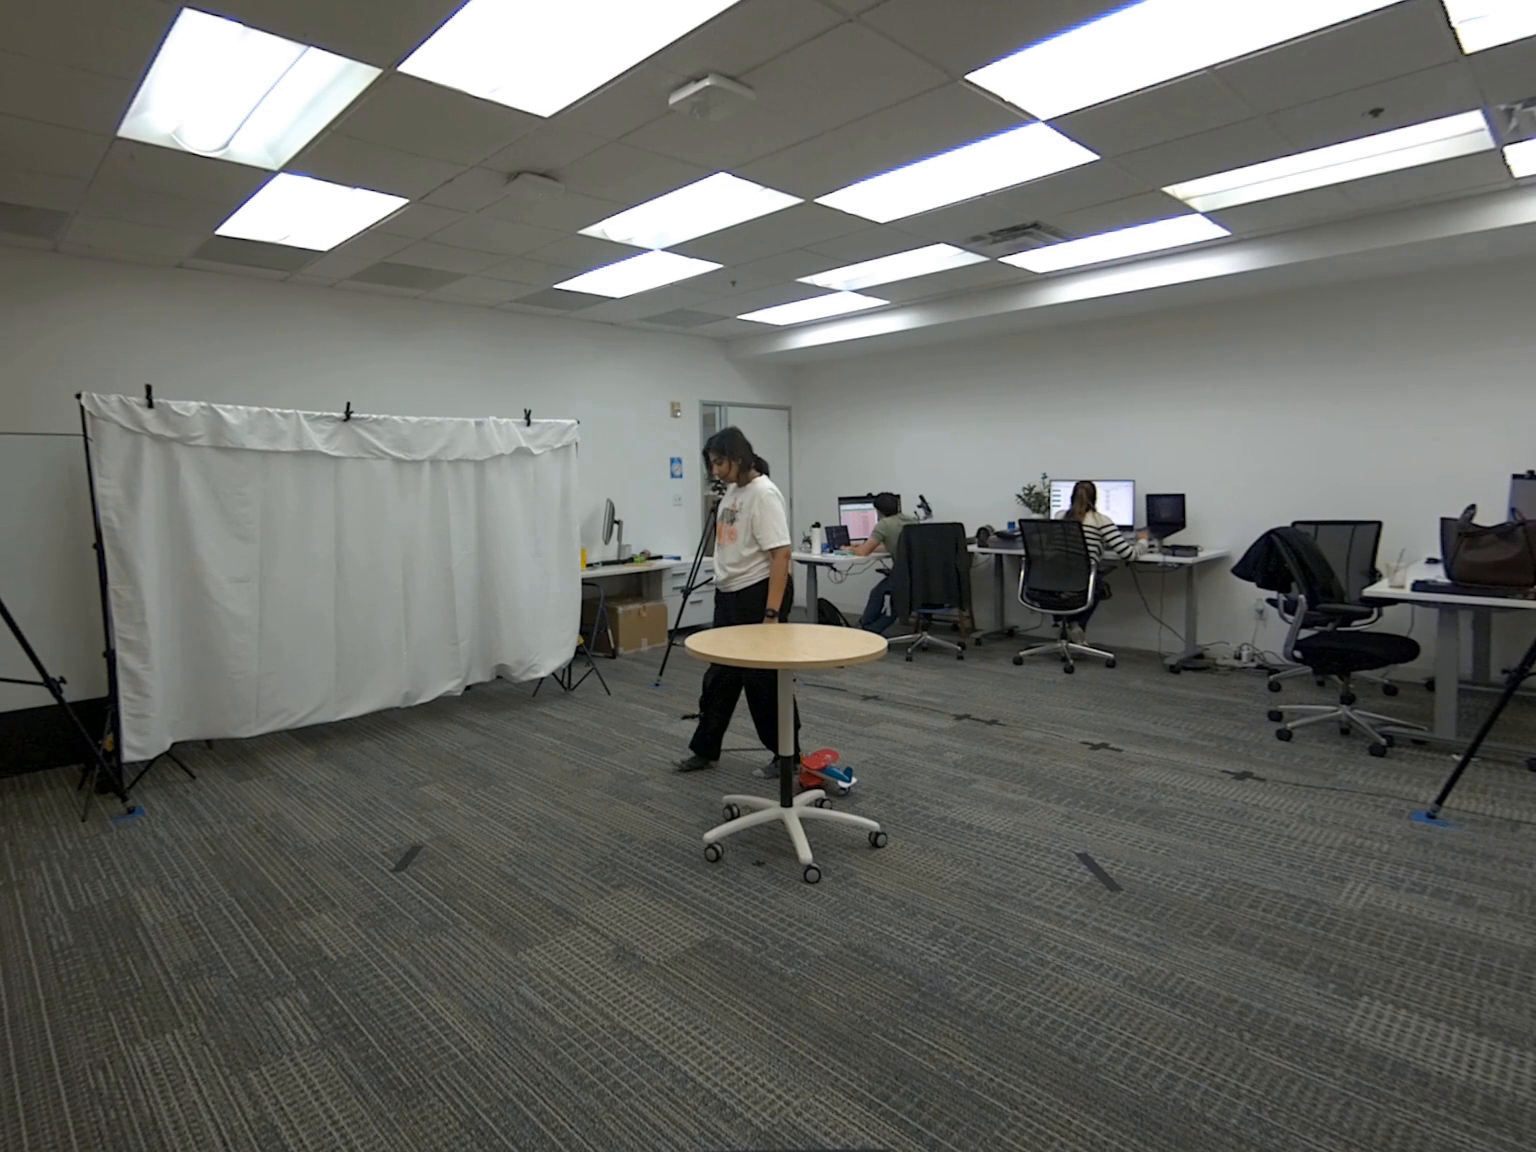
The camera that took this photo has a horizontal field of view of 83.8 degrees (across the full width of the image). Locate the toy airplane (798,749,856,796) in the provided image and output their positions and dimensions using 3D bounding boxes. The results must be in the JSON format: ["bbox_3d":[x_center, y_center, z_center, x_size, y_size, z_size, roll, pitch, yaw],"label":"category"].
[{"bbox_3d":[0.269,0.883,3.849,0.261,0.156,0.250,-1,5,7],"label":"toy airplane"}]
